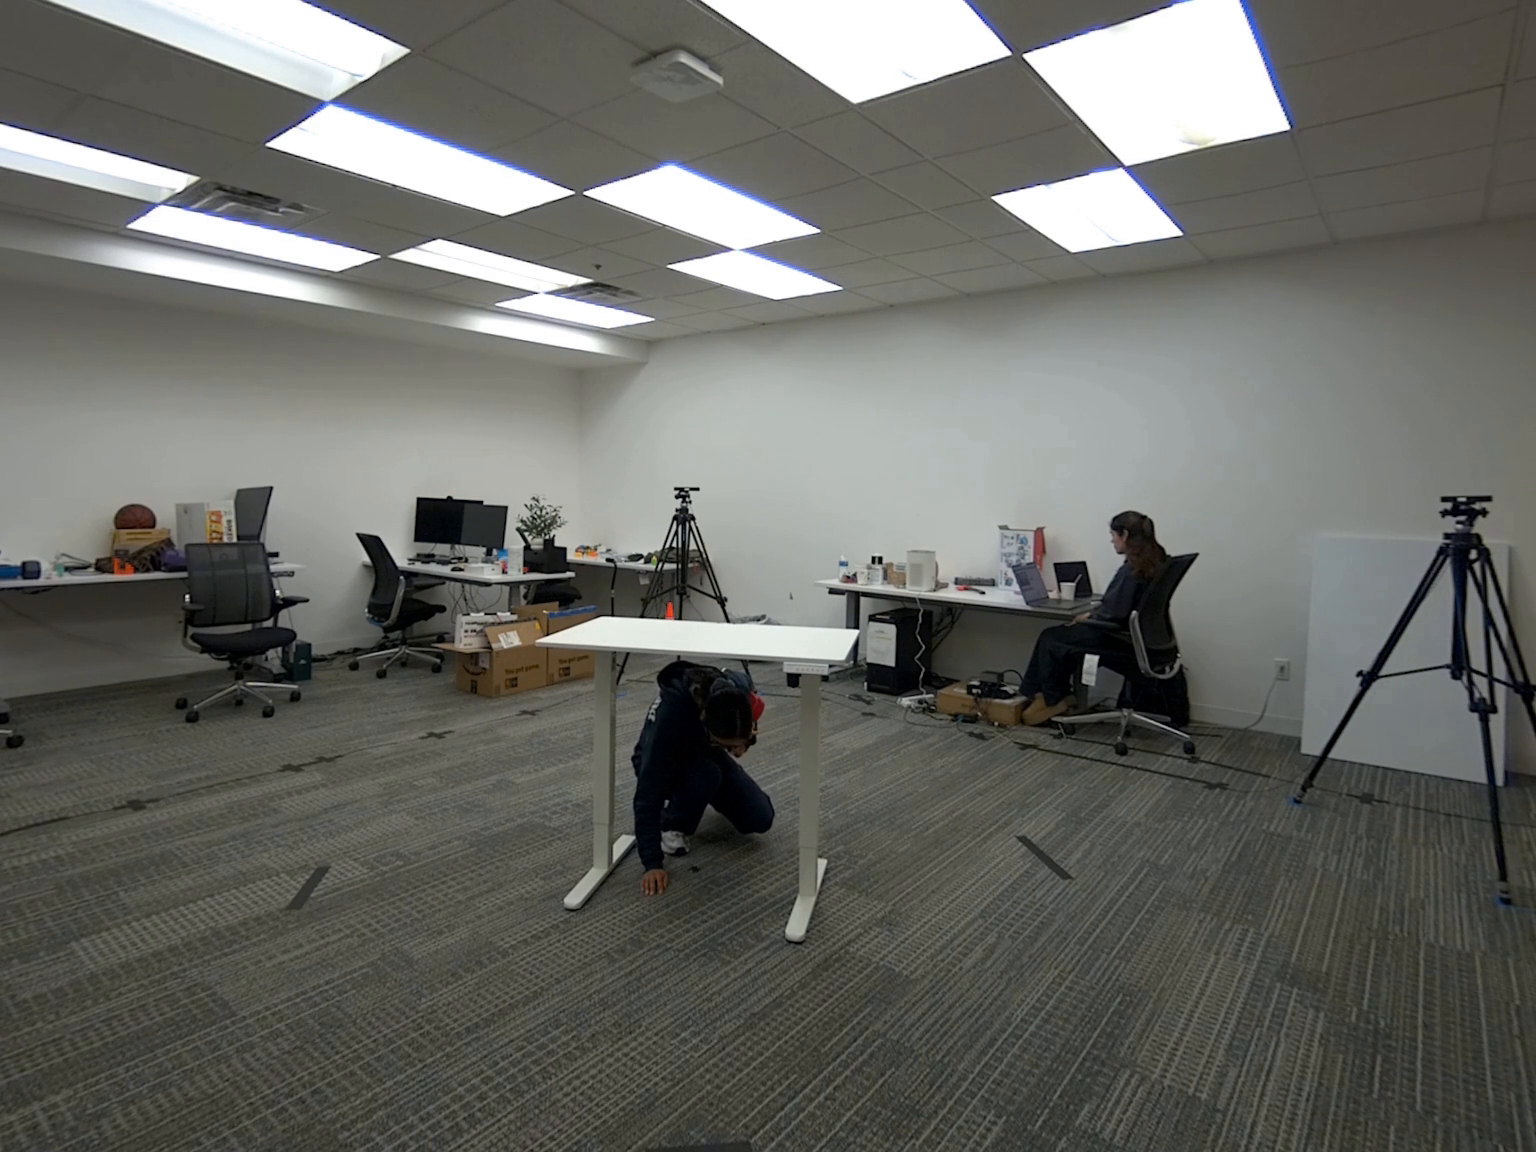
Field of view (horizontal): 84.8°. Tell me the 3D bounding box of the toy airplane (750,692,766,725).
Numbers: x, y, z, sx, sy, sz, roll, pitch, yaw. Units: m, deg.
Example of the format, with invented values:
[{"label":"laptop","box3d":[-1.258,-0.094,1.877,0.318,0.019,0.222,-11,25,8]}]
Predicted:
[{"label":"toy airplane","box3d":[-0.155,0.537,3.429,0.253,0.268,0.150,-28,-45,21]}]
